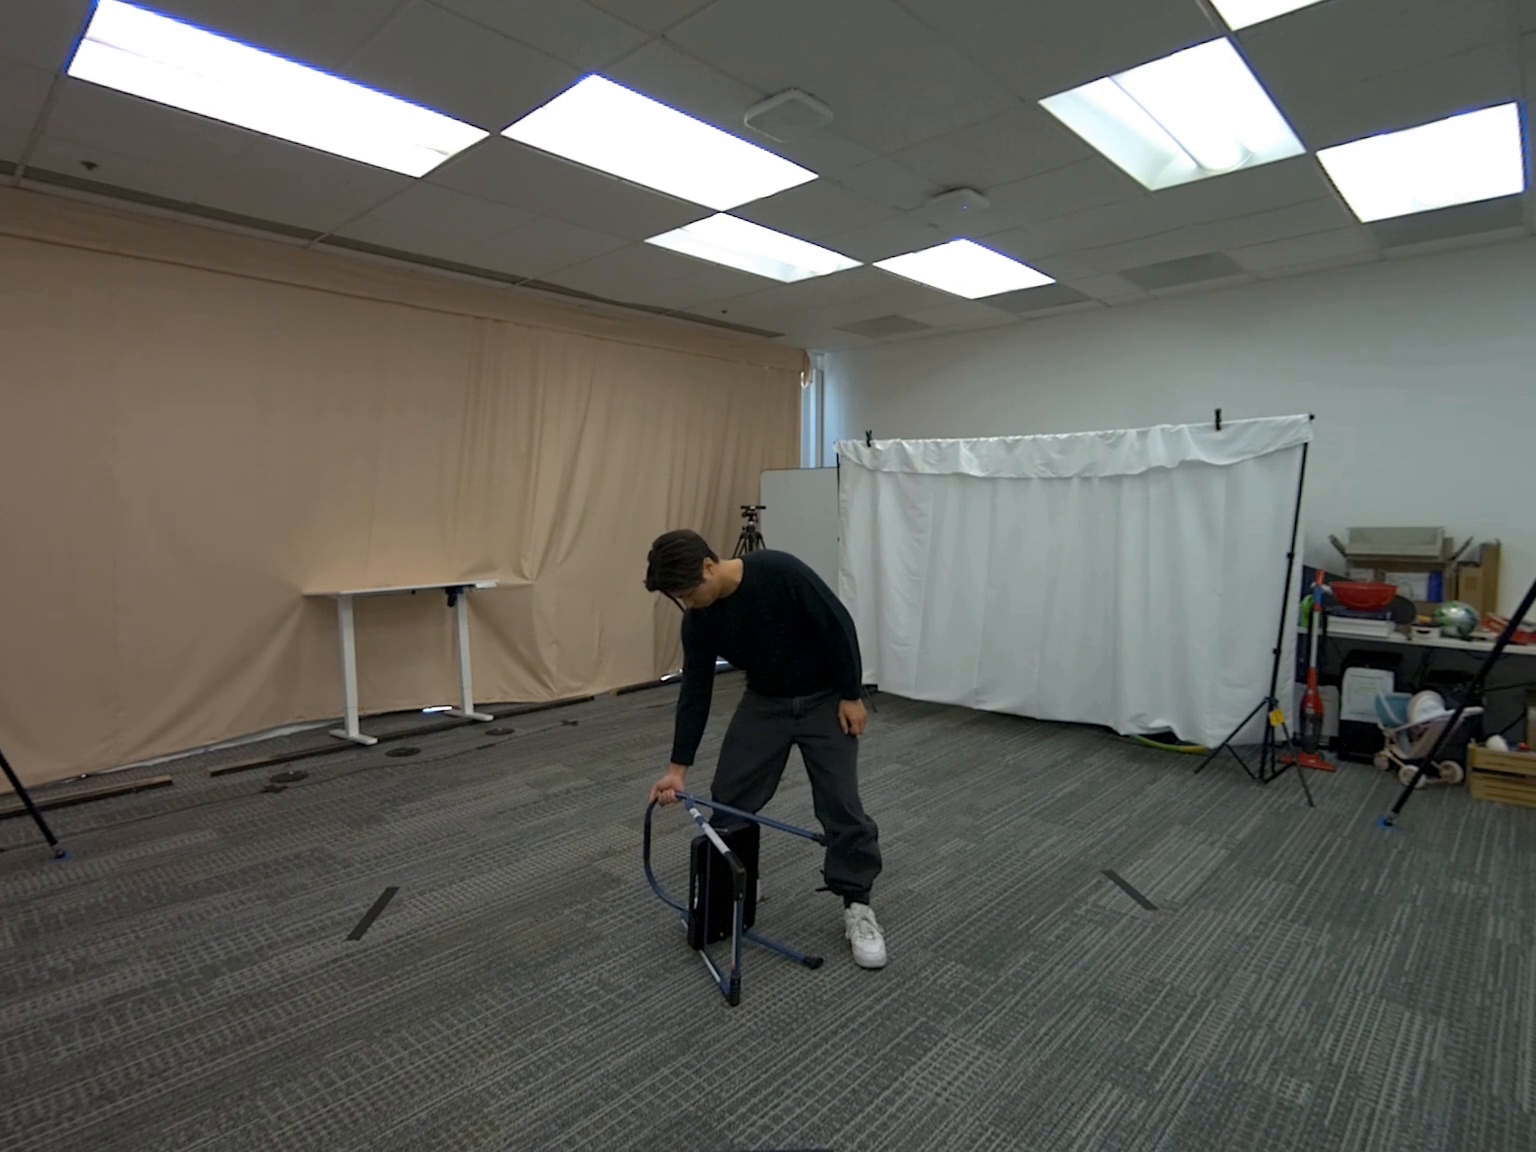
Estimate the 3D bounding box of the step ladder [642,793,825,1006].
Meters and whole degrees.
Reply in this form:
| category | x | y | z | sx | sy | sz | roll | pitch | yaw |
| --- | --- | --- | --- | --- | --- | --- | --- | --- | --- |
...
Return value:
| category | x | y | z | sx | sy | sz | roll | pitch | yaw |
| --- | --- | --- | --- | --- | --- | --- | --- | --- | --- |
| step ladder | -0.150 | 0.929 | 2.633 | 0.339 | 0.428 | 0.627 | -4 | 12 | -40 |
